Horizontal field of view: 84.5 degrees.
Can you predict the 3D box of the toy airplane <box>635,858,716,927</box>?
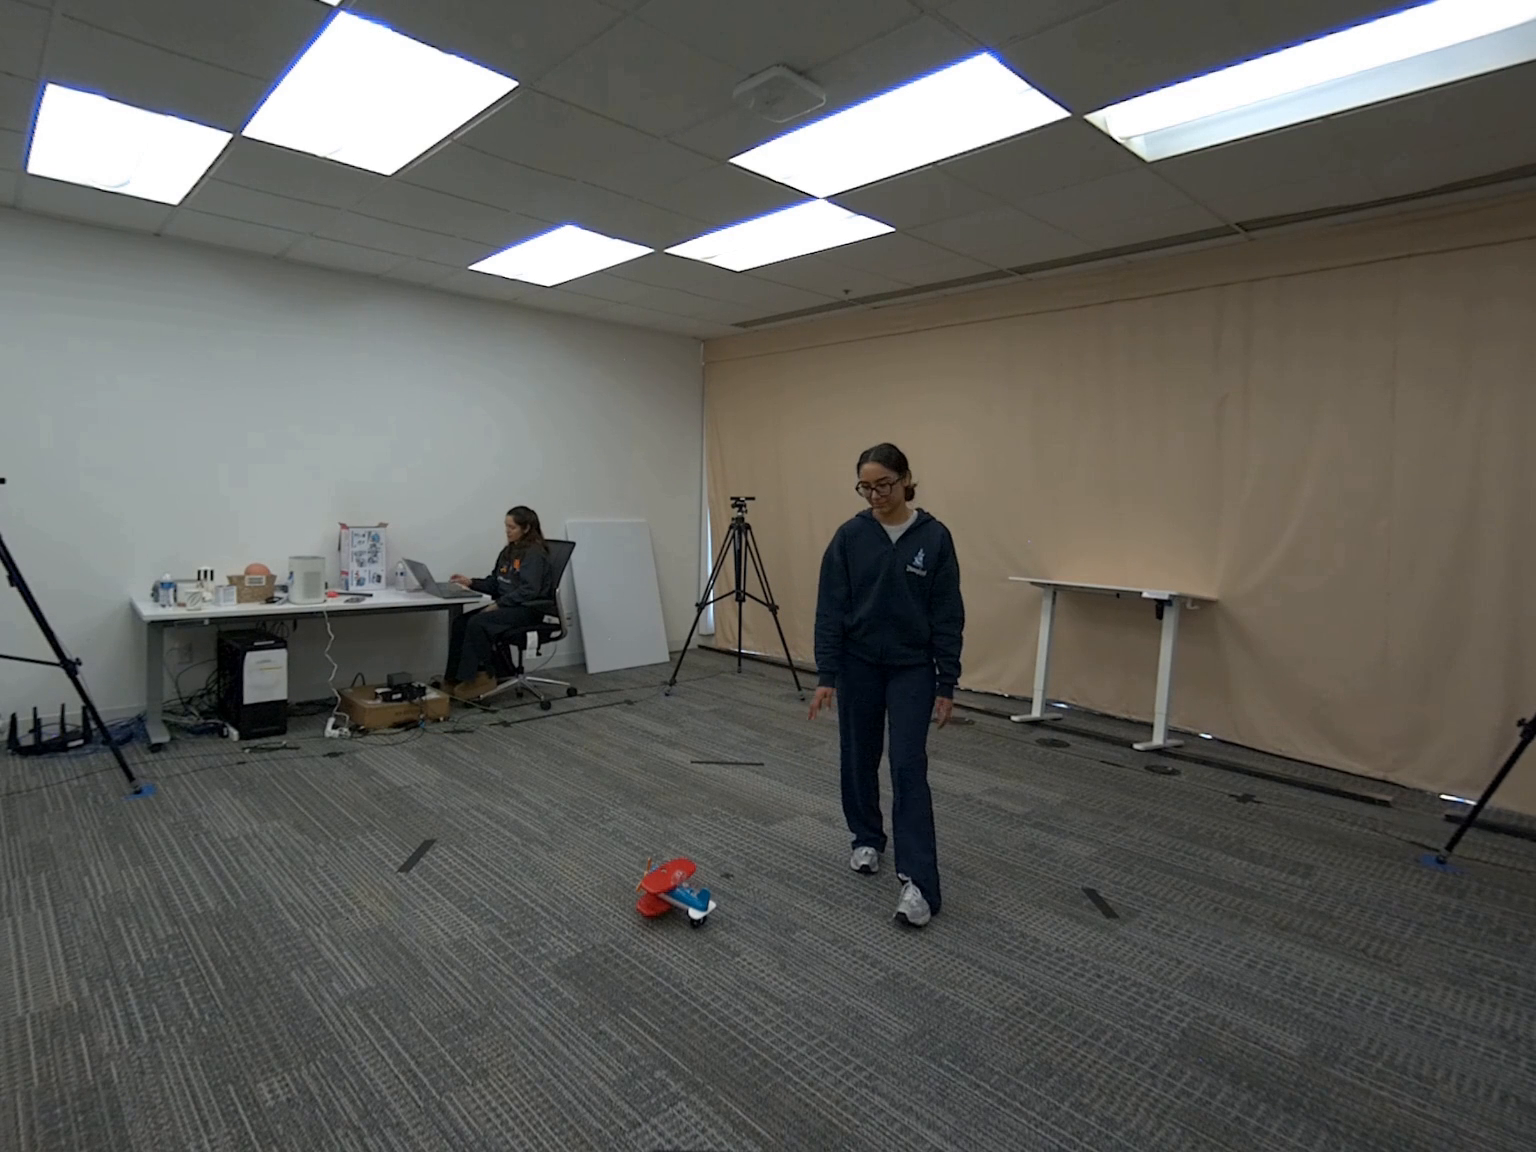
[{"bbox_3d":[-0.303,1.055,2.796,0.259,0.156,0.252,1,6,-1],"label":"toy airplane"}]
